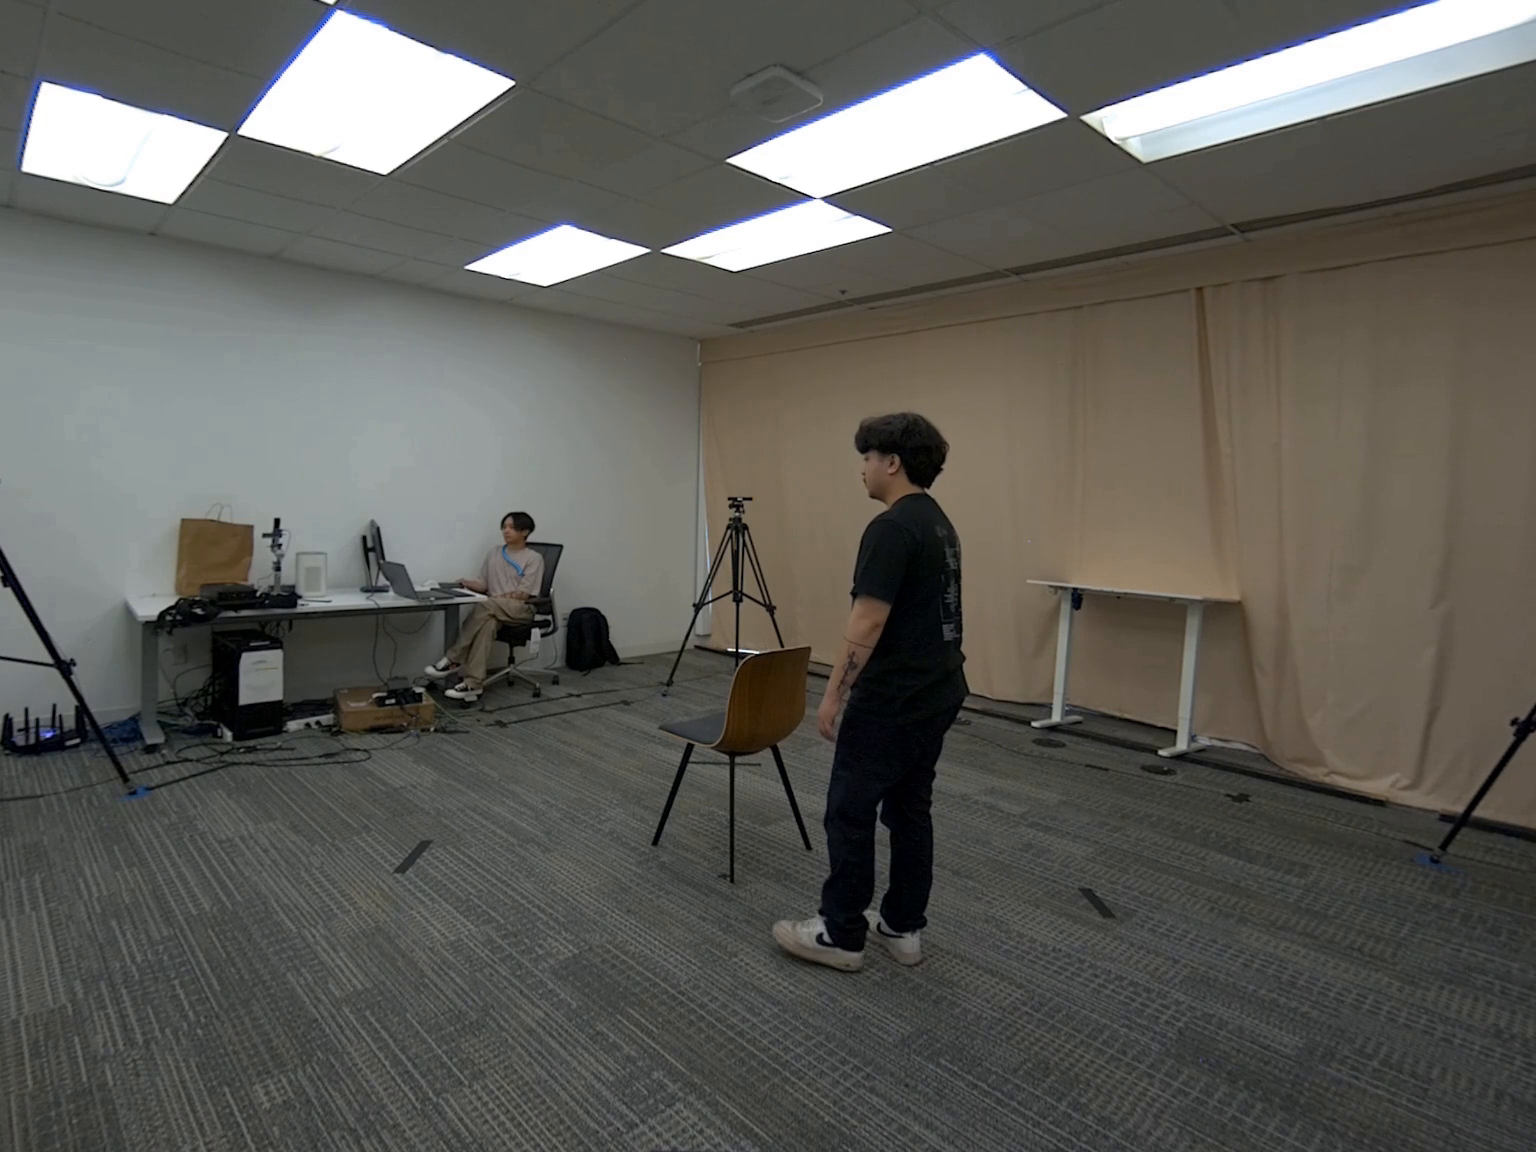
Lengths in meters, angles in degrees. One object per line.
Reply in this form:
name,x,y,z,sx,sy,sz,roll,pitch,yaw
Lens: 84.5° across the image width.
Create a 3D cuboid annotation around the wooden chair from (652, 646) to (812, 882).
wooden chair,-0.148,0.660,3.332,0.537,0.873,0.467,11,9,43
